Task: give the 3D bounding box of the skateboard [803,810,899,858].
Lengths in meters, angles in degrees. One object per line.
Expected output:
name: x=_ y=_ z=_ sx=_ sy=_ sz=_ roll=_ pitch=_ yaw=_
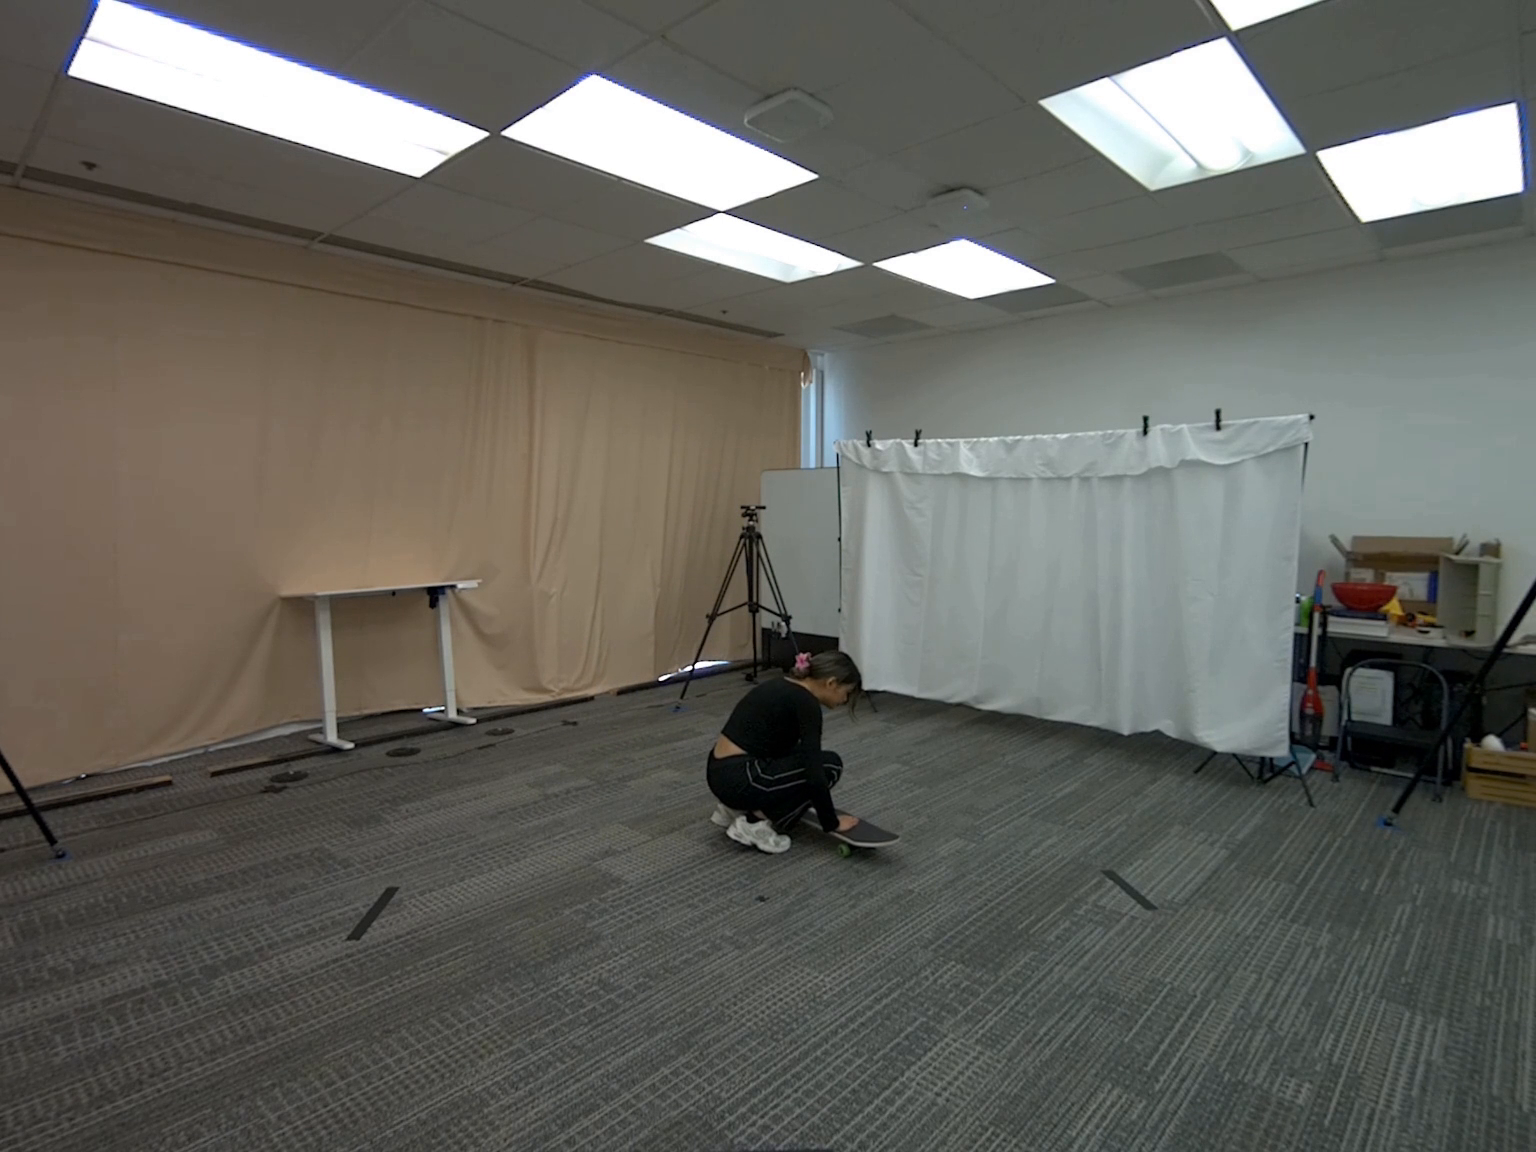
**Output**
skateboard: x=0.250 y=1.042 z=3.545 sx=0.188 sy=0.110 sz=0.810 roll=-2 pitch=5 yaw=-35
